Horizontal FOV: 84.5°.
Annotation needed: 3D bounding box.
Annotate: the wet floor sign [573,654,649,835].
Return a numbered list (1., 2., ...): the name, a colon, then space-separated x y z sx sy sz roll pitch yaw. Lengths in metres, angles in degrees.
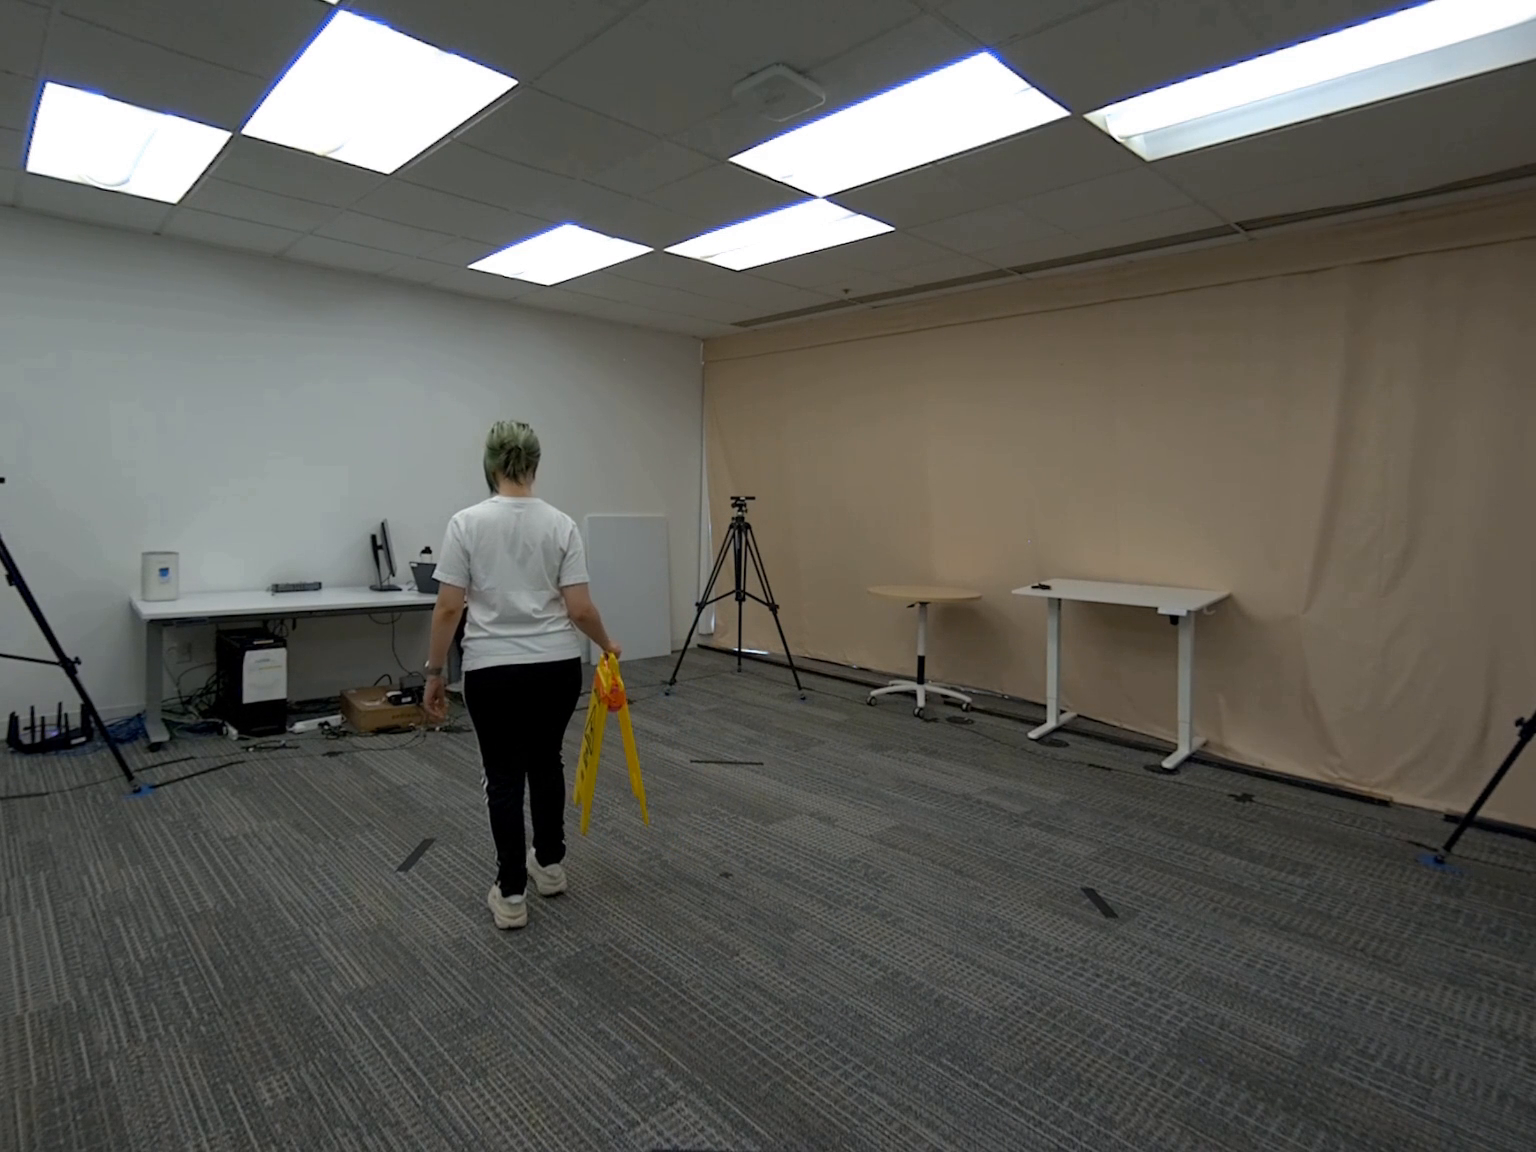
1. wet floor sign: -0.580 0.571 3.067 0.286 0.640 0.288 0 15 -17
